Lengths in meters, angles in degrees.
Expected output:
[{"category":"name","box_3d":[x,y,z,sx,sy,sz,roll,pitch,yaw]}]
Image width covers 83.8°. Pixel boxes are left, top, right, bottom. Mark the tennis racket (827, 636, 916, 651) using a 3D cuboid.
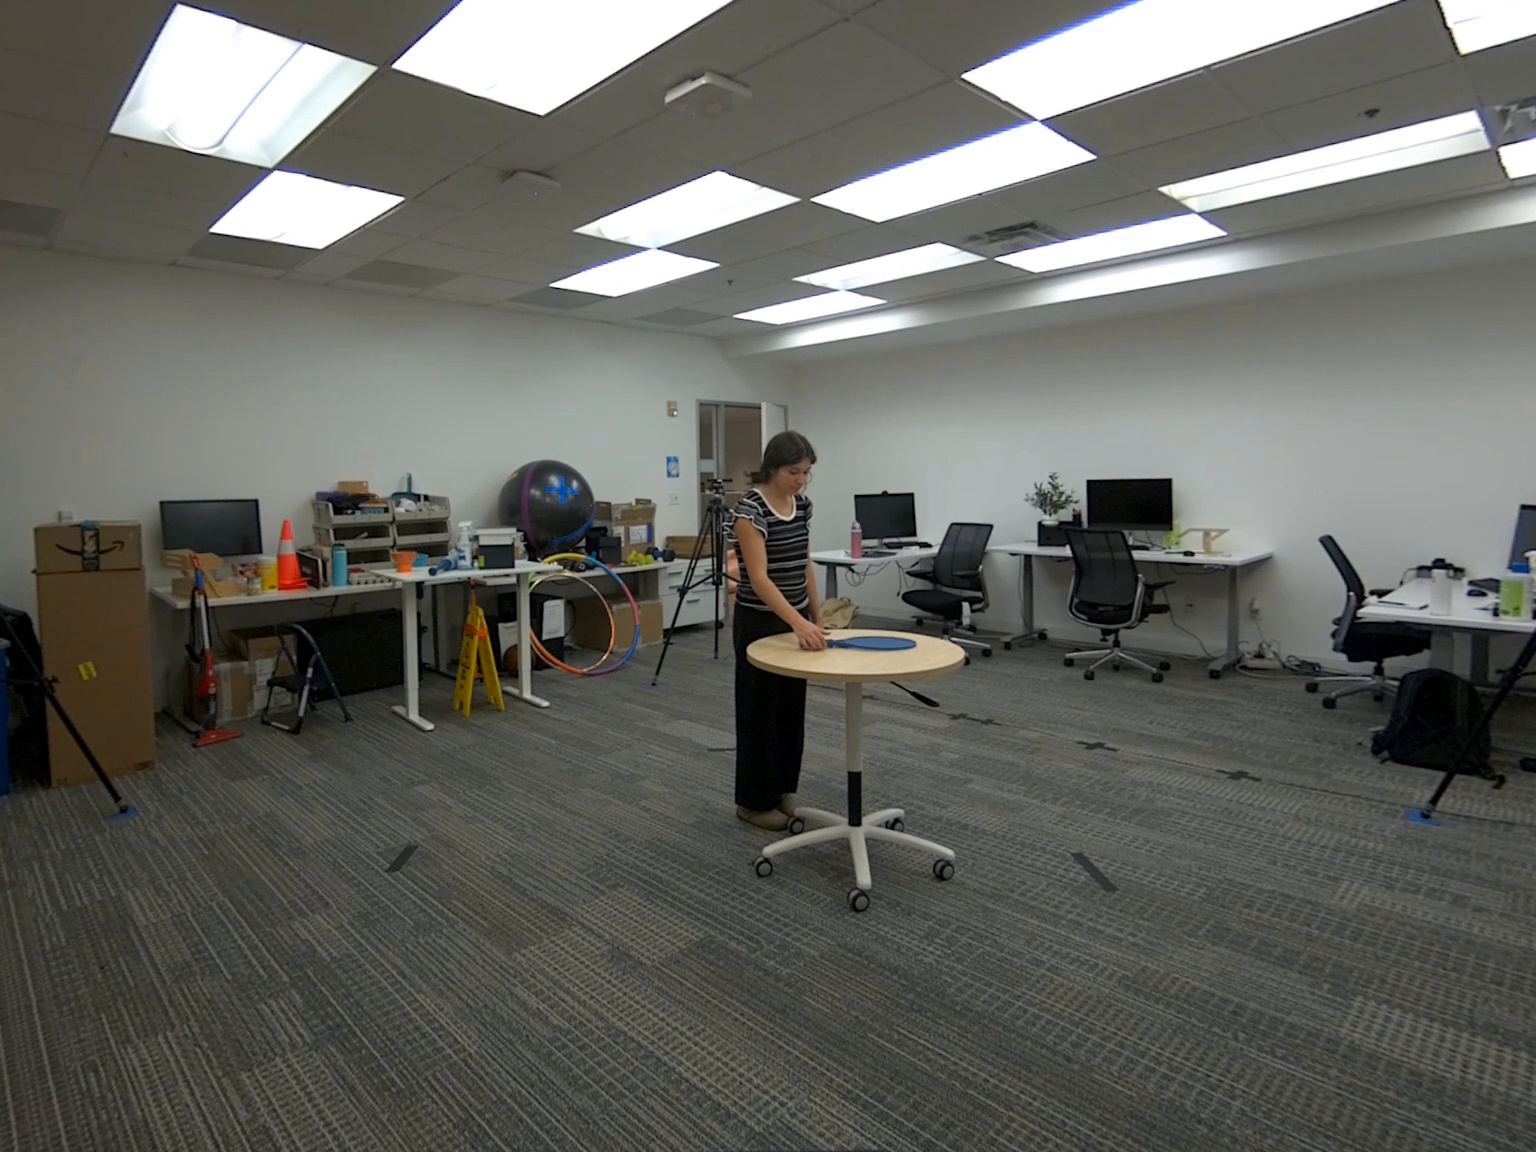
[{"category":"tennis racket","box_3d":[0.336,0.249,3.095,0.428,0.031,0.217,-1,7,-11]}]
